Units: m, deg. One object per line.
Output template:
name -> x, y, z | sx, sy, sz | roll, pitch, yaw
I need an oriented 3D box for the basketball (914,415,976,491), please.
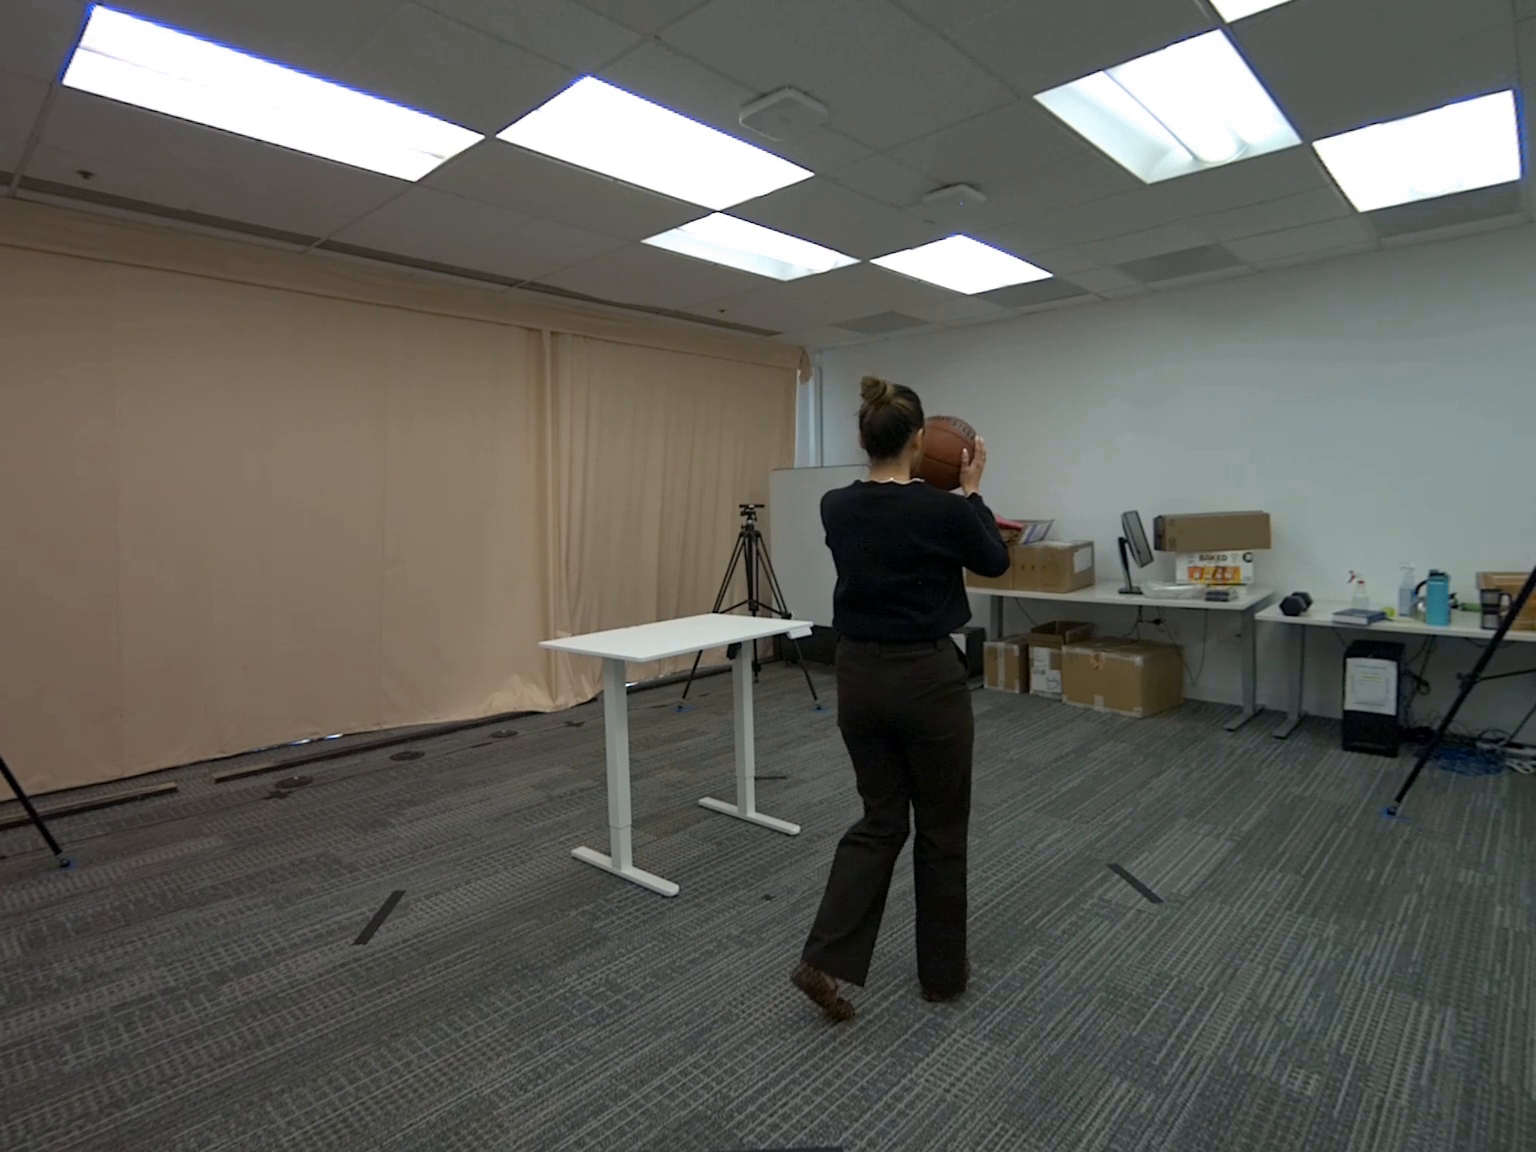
basketball -> 0.526, -0.372, 2.555 | 0.236, 0.235, 0.237 | -1, 4, -2
